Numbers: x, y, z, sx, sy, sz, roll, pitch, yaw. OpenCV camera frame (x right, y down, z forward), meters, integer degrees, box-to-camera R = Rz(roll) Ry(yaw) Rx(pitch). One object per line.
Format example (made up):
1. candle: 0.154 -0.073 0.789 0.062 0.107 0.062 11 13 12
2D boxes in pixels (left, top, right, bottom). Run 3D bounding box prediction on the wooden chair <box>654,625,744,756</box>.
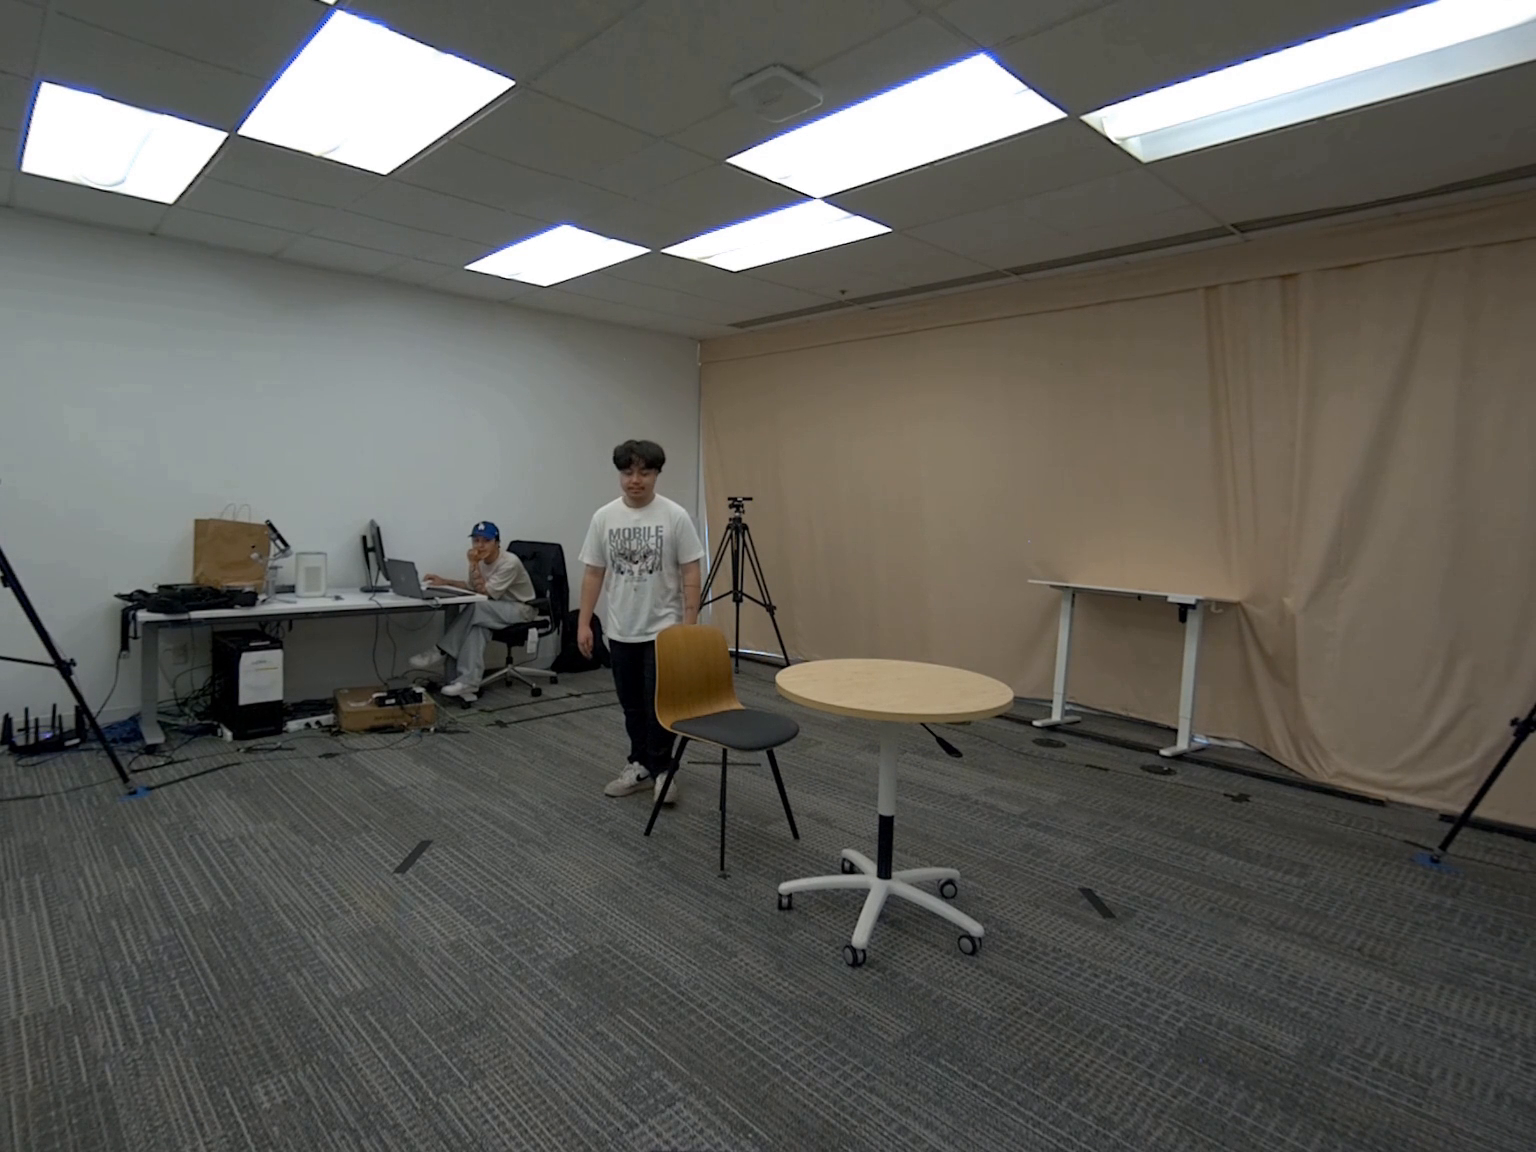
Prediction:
1. wooden chair: -0.177 0.650 3.425 0.535 0.877 0.467 -2 0 43
